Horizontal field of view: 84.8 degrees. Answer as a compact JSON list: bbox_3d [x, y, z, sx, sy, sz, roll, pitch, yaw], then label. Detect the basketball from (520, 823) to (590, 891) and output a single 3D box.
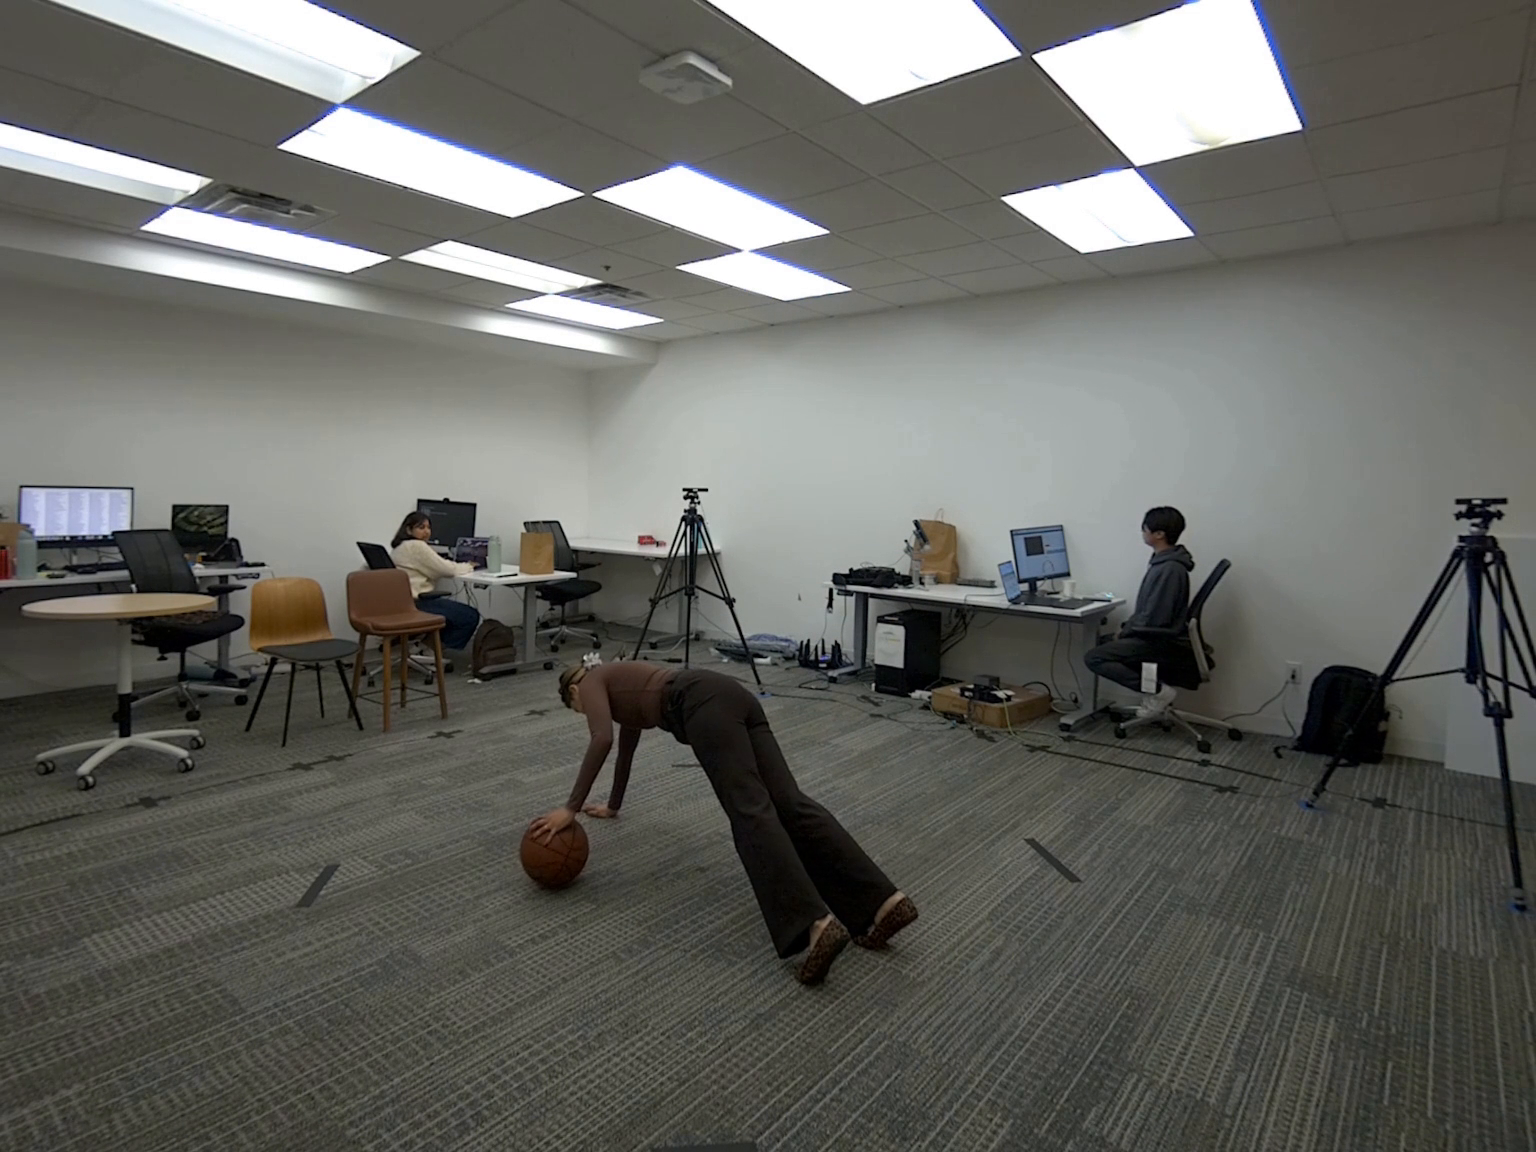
[{"bbox_3d":[-0.761,0.953,2.977,0.236,0.235,0.237,1,4,-2],"label":"basketball"}]
